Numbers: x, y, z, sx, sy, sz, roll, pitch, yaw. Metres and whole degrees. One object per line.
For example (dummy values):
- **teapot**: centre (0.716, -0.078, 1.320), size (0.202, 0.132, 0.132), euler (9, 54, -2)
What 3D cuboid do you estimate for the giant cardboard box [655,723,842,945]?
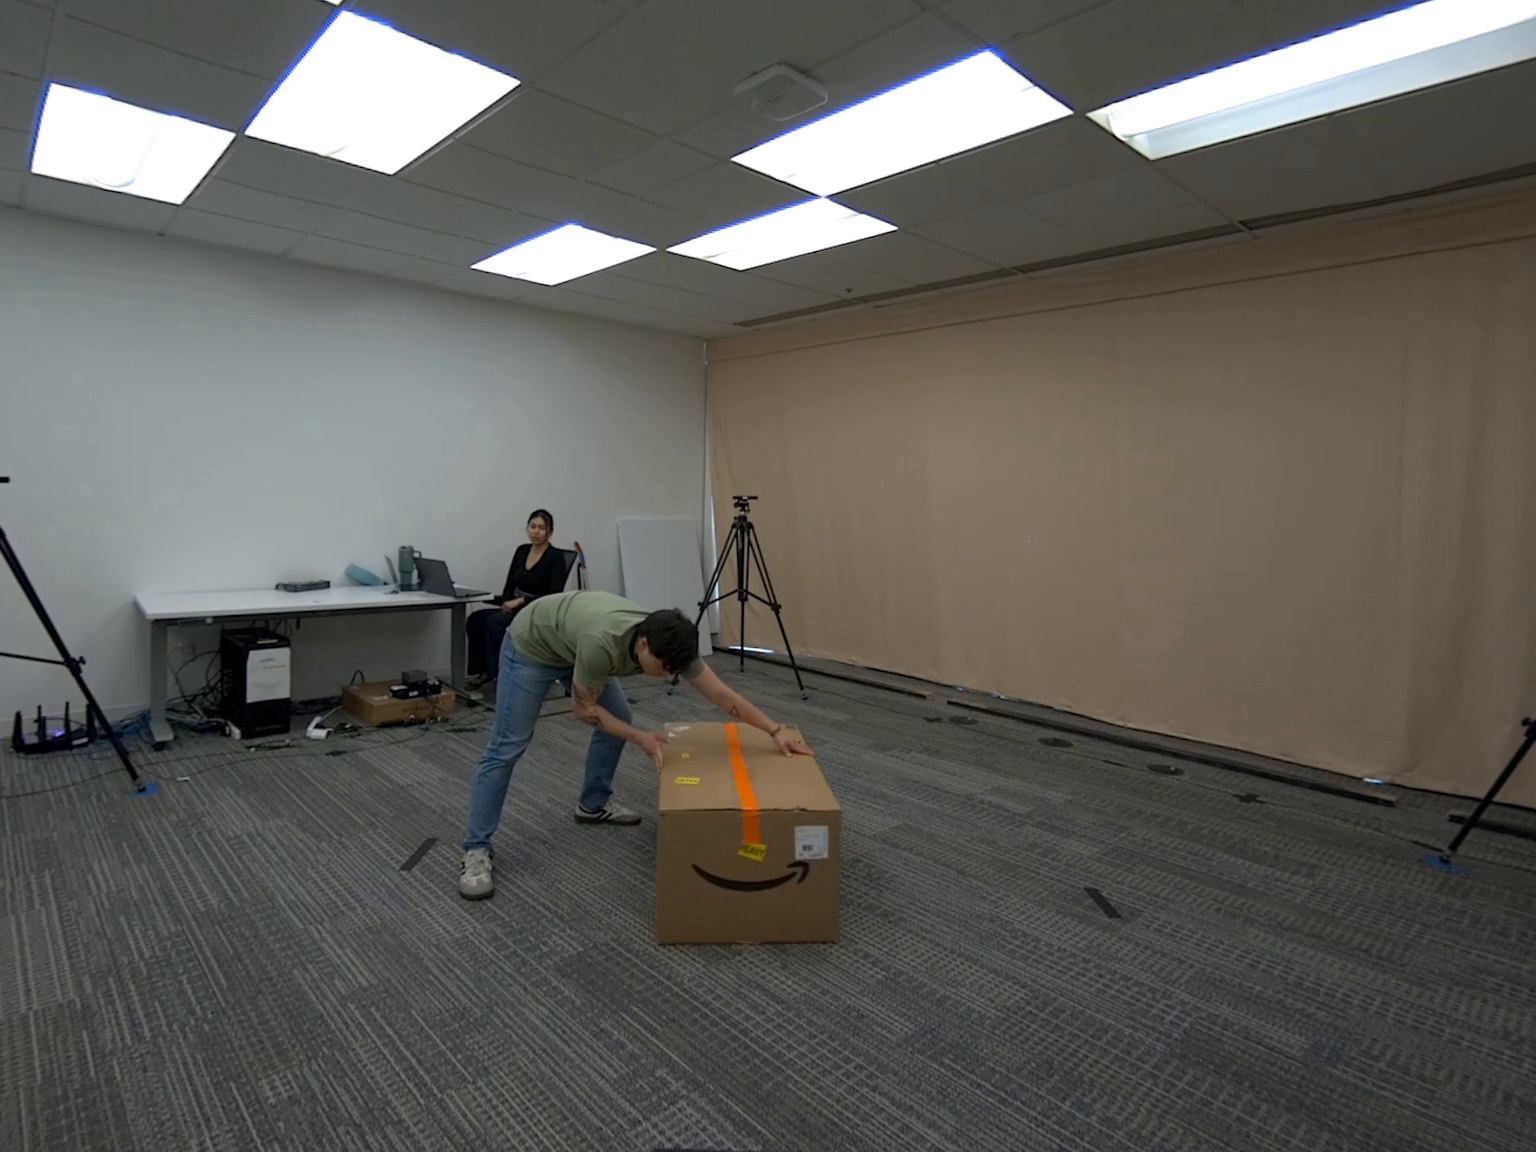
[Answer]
- **giant cardboard box**: centre (-0.119, 0.888, 3.118), size (0.575, 0.425, 1.033), euler (1, 5, -6)
